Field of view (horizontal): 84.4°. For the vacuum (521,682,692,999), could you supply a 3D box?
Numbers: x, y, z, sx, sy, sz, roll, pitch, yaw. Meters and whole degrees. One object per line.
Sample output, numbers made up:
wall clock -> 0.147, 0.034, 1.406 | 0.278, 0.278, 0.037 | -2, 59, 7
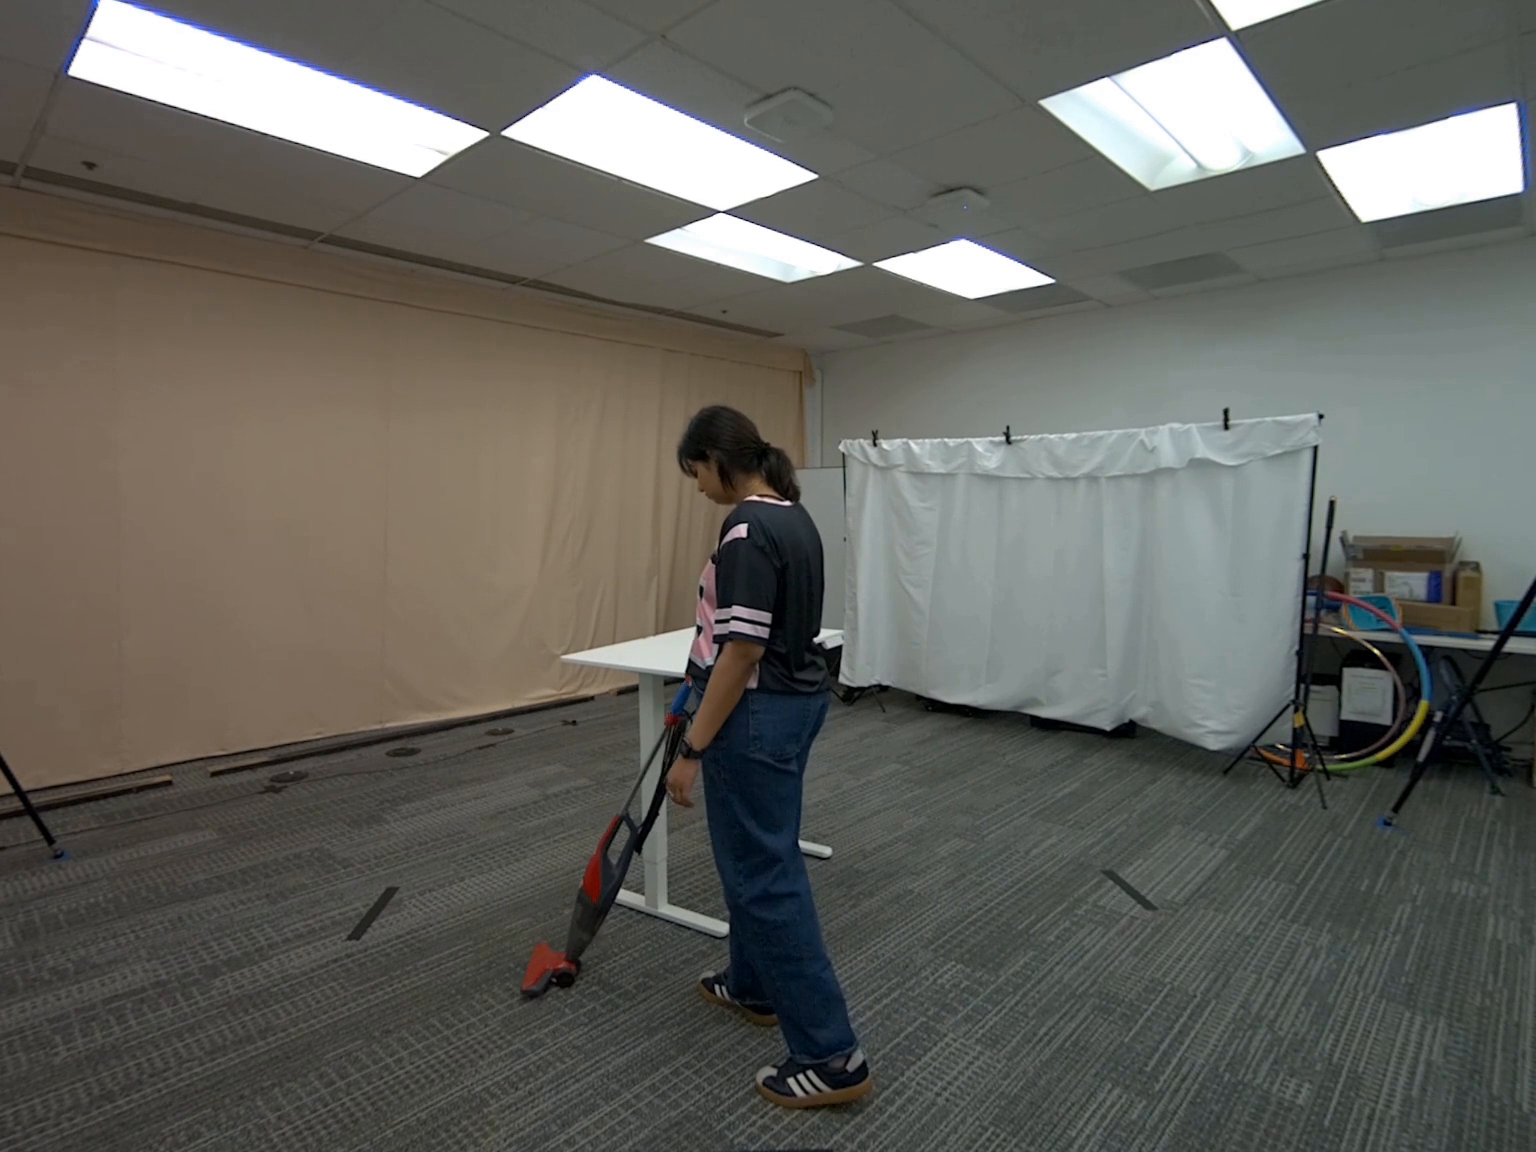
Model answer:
vacuum -> -0.397, 0.724, 2.475 | 0.143, 1.049, 0.254 | 28, 2, -7
